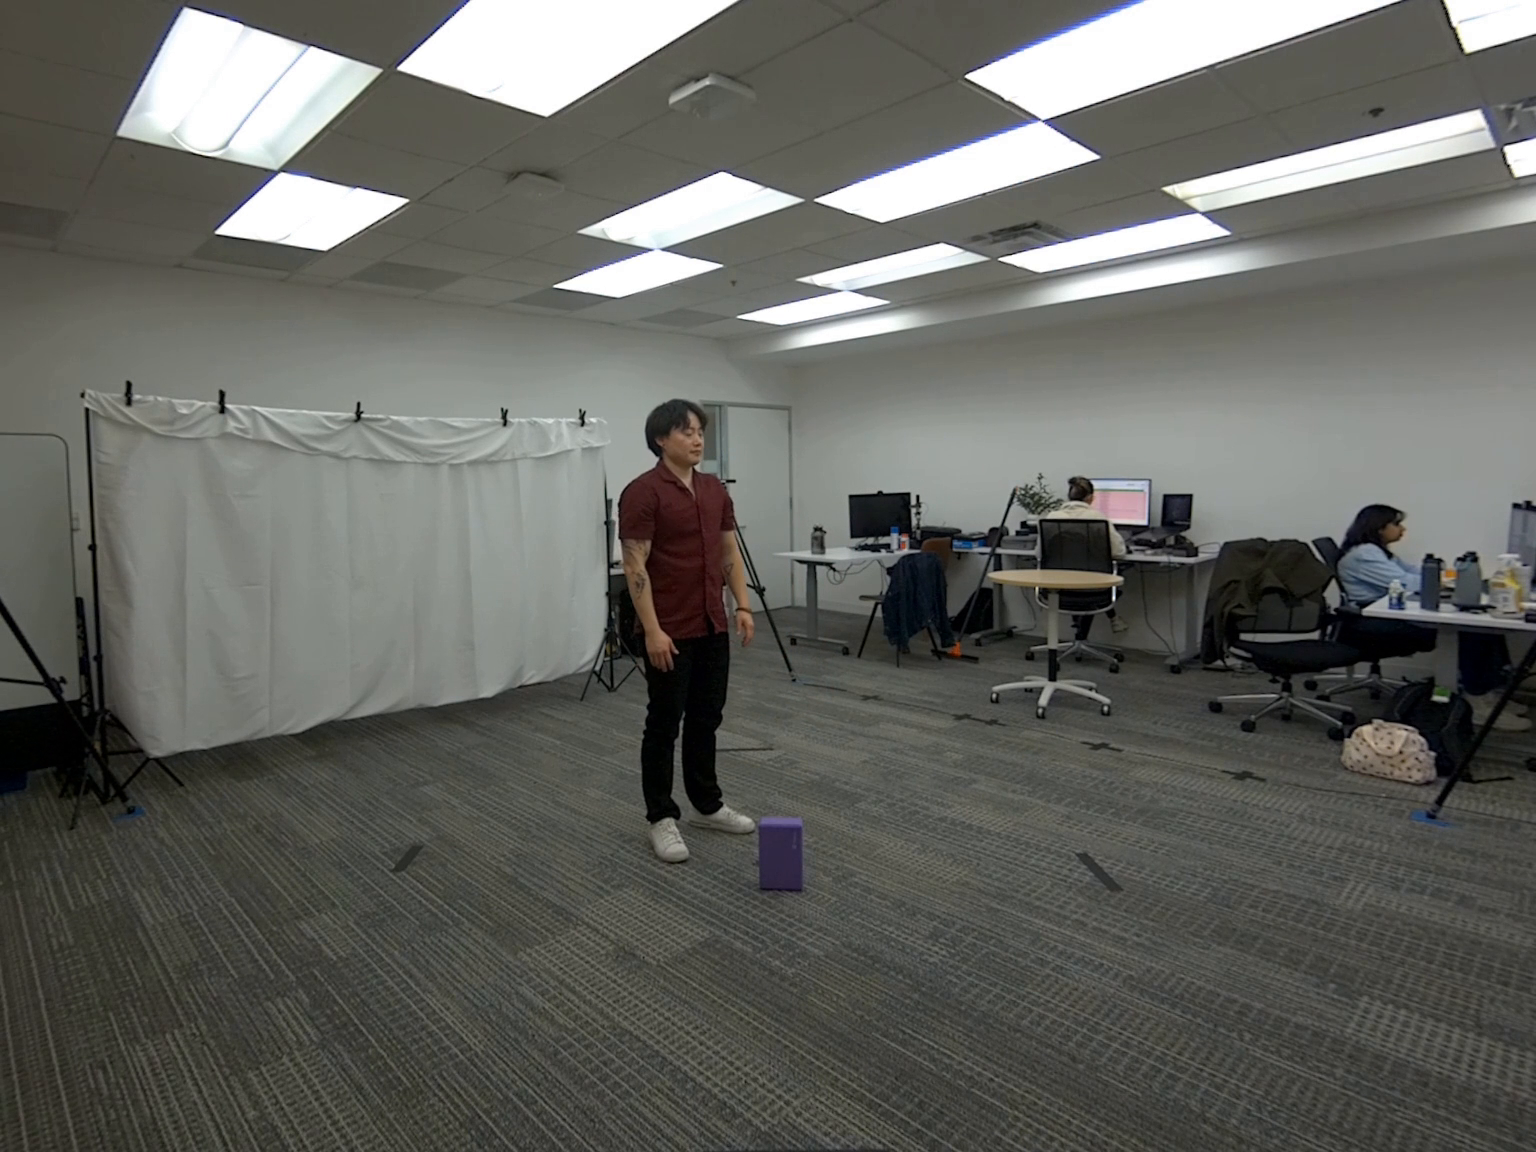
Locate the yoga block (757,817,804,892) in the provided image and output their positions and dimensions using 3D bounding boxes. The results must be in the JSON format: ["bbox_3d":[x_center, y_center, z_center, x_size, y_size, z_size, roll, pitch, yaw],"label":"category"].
[{"bbox_3d":[0.048,0.953,2.925,0.150,0.229,0.076,0,2,6],"label":"yoga block"}]
